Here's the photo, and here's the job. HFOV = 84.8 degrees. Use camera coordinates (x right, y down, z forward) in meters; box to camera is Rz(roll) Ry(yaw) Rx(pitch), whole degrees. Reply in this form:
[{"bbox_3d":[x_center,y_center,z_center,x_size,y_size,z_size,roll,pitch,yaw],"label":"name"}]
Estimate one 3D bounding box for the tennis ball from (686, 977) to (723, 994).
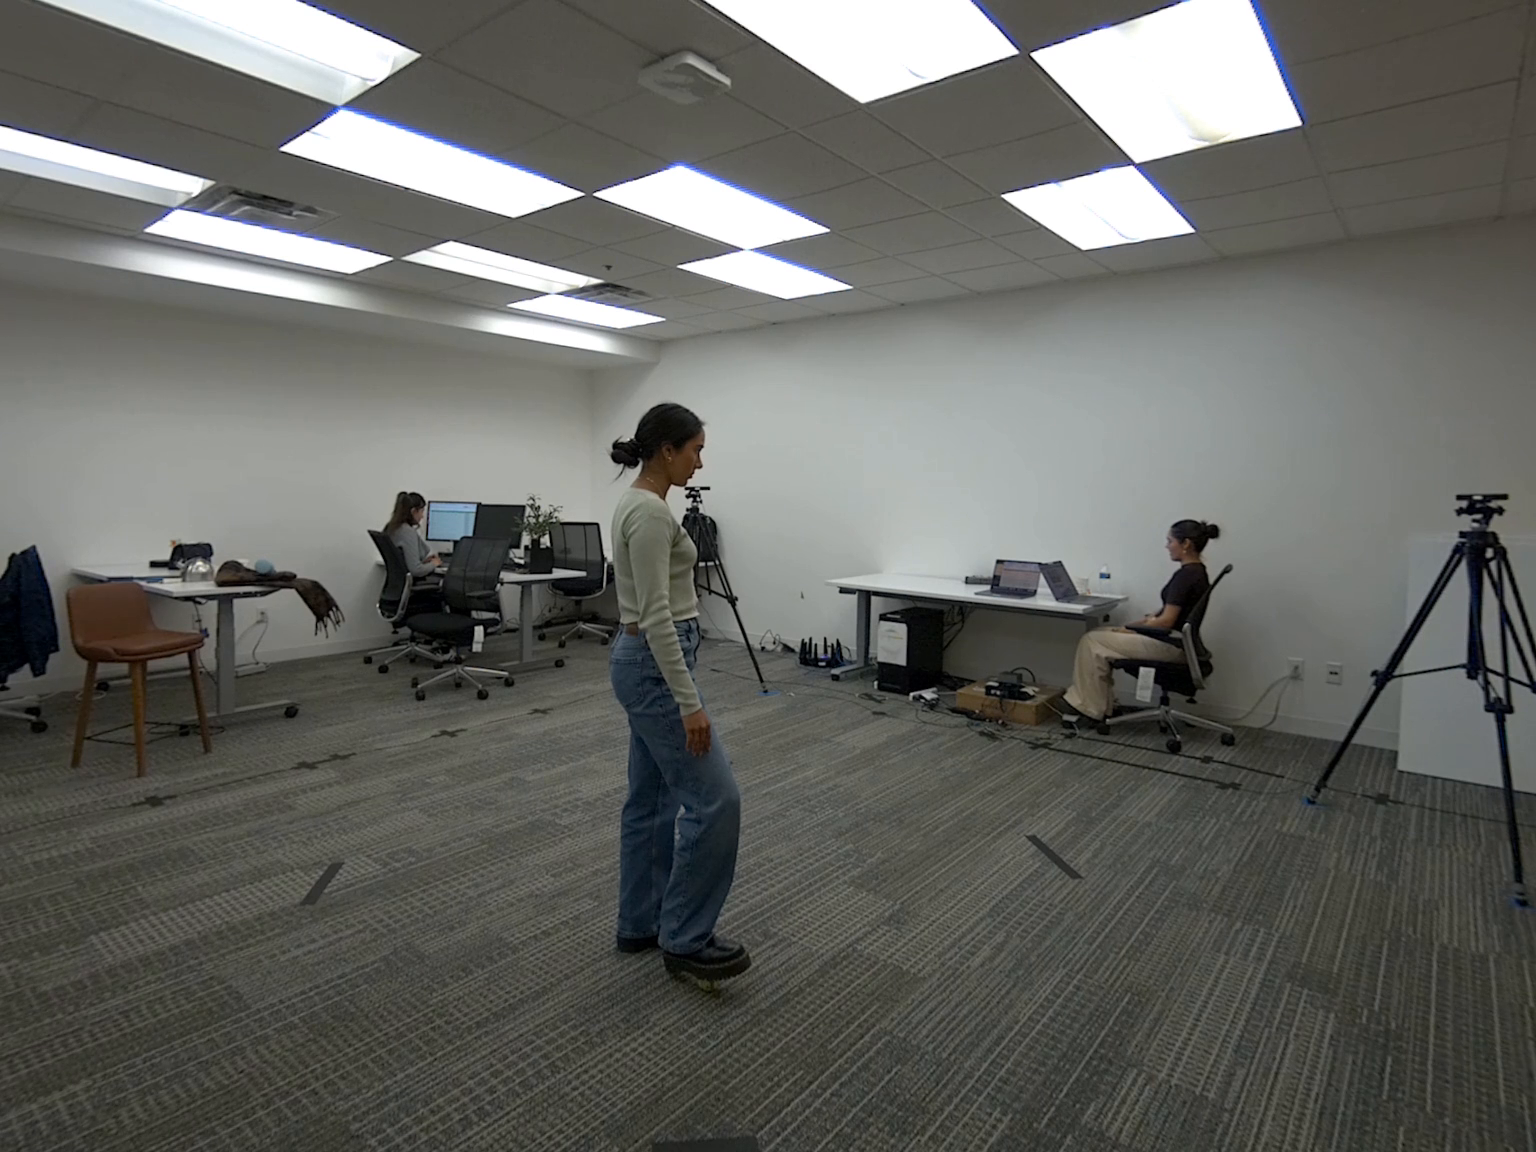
[{"bbox_3d":[-0.171,1.126,2.355,0.066,0.066,0.067,1,4,-2],"label":"tennis ball"}]
